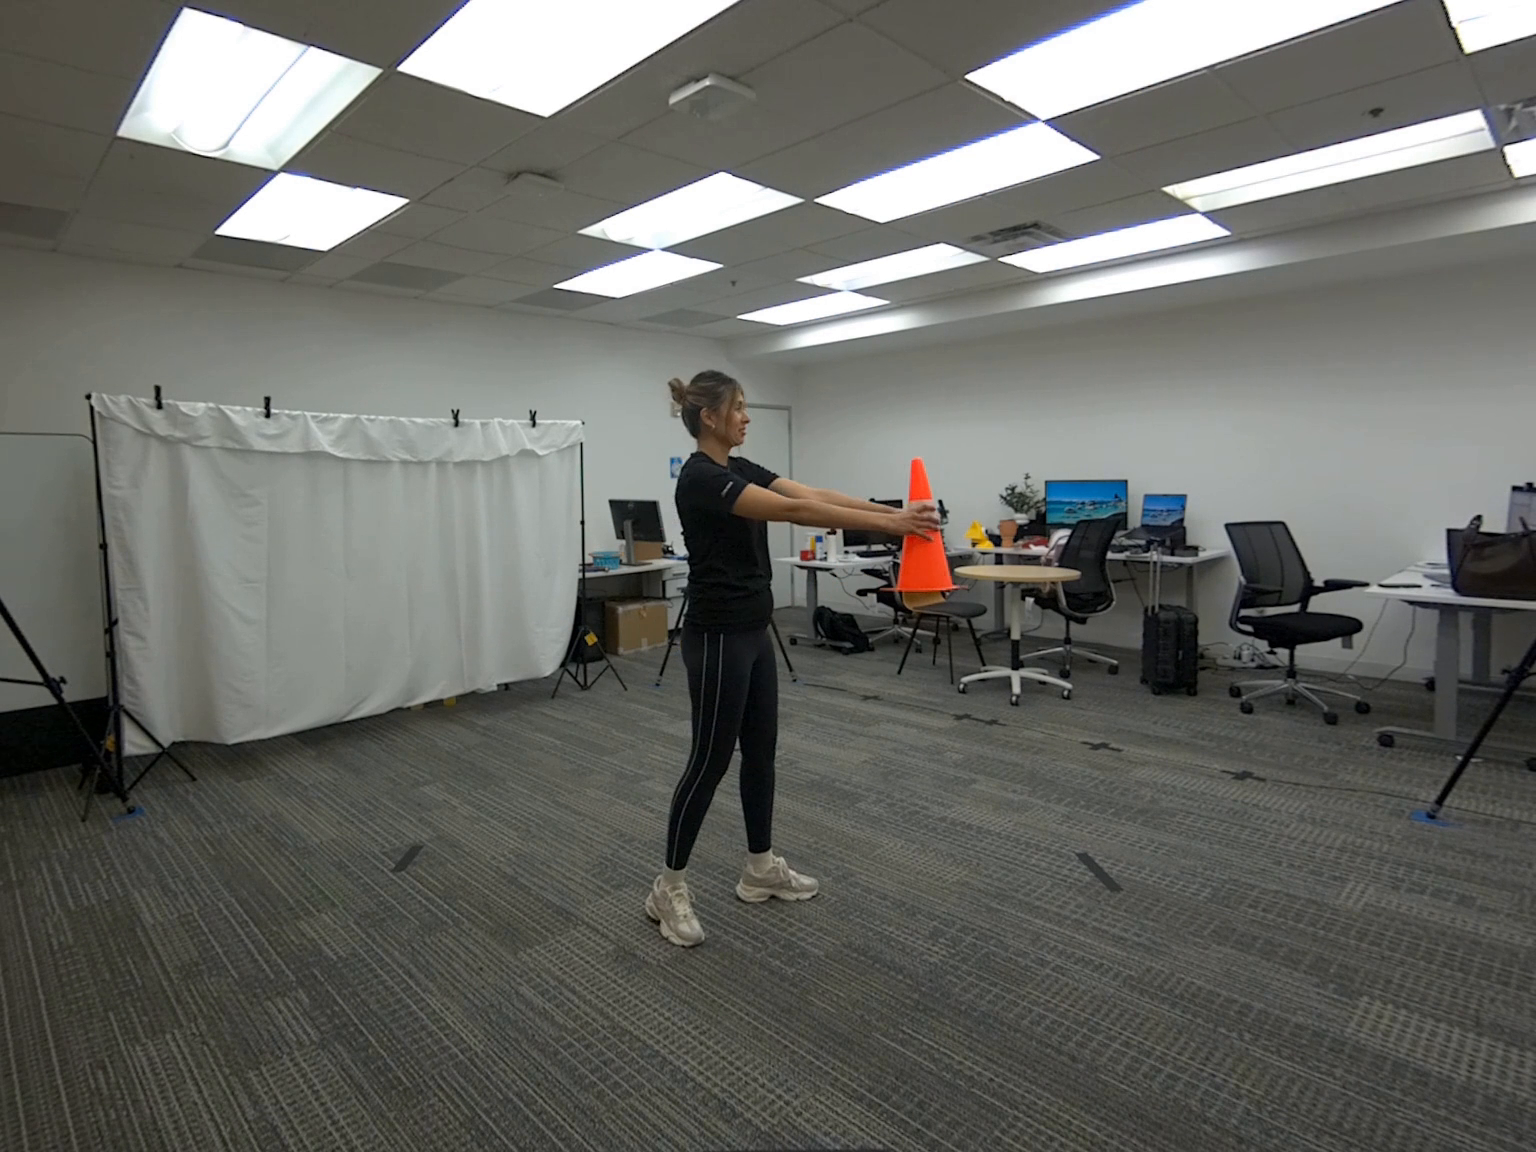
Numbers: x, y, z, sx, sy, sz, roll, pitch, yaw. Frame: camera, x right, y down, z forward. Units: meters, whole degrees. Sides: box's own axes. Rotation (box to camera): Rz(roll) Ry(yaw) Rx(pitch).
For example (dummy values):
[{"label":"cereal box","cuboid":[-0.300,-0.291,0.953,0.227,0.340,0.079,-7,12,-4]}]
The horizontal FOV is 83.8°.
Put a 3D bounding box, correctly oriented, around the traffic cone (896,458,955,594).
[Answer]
[{"label":"traffic cone","cuboid":[0.441,-0.151,2.498,0.210,0.384,0.198,-4,-2,39]}]
